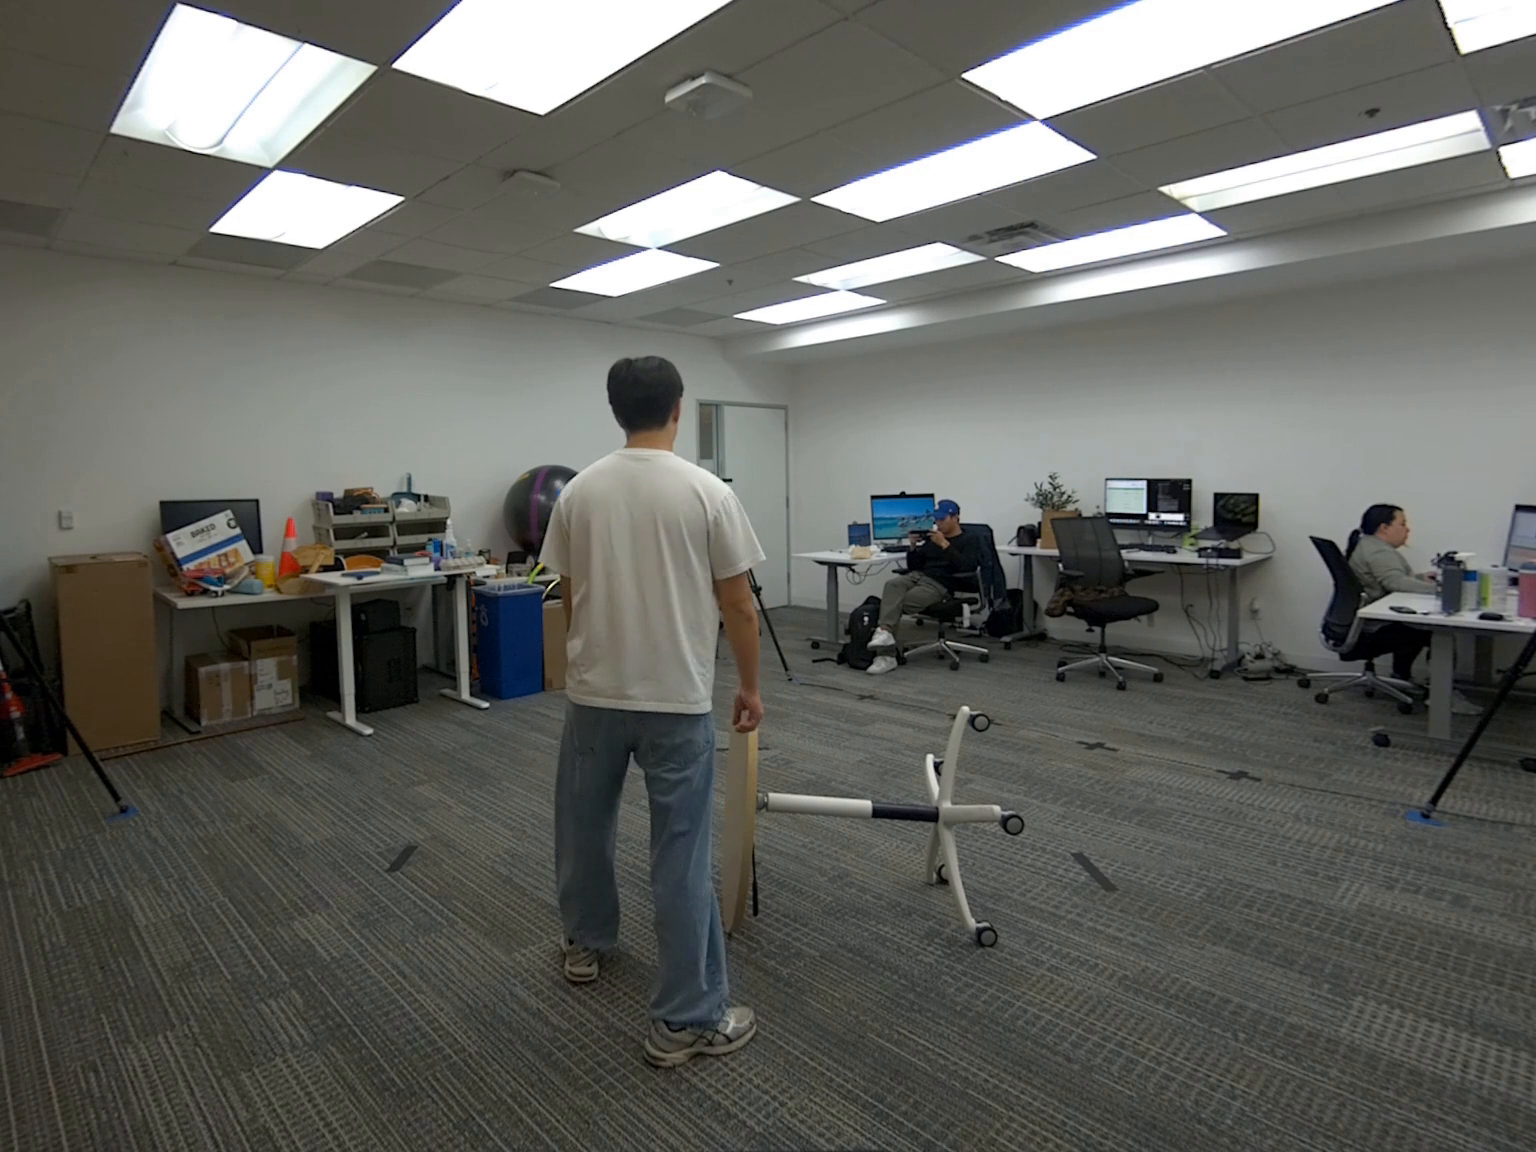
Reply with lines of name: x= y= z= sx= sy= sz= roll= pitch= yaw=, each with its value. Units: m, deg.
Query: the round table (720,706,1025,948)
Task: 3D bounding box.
round table: x=0.286 y=0.737 z=2.736 sx=0.782 sy=0.783 sz=0.792 roll=5 pitch=4 yaw=-6
